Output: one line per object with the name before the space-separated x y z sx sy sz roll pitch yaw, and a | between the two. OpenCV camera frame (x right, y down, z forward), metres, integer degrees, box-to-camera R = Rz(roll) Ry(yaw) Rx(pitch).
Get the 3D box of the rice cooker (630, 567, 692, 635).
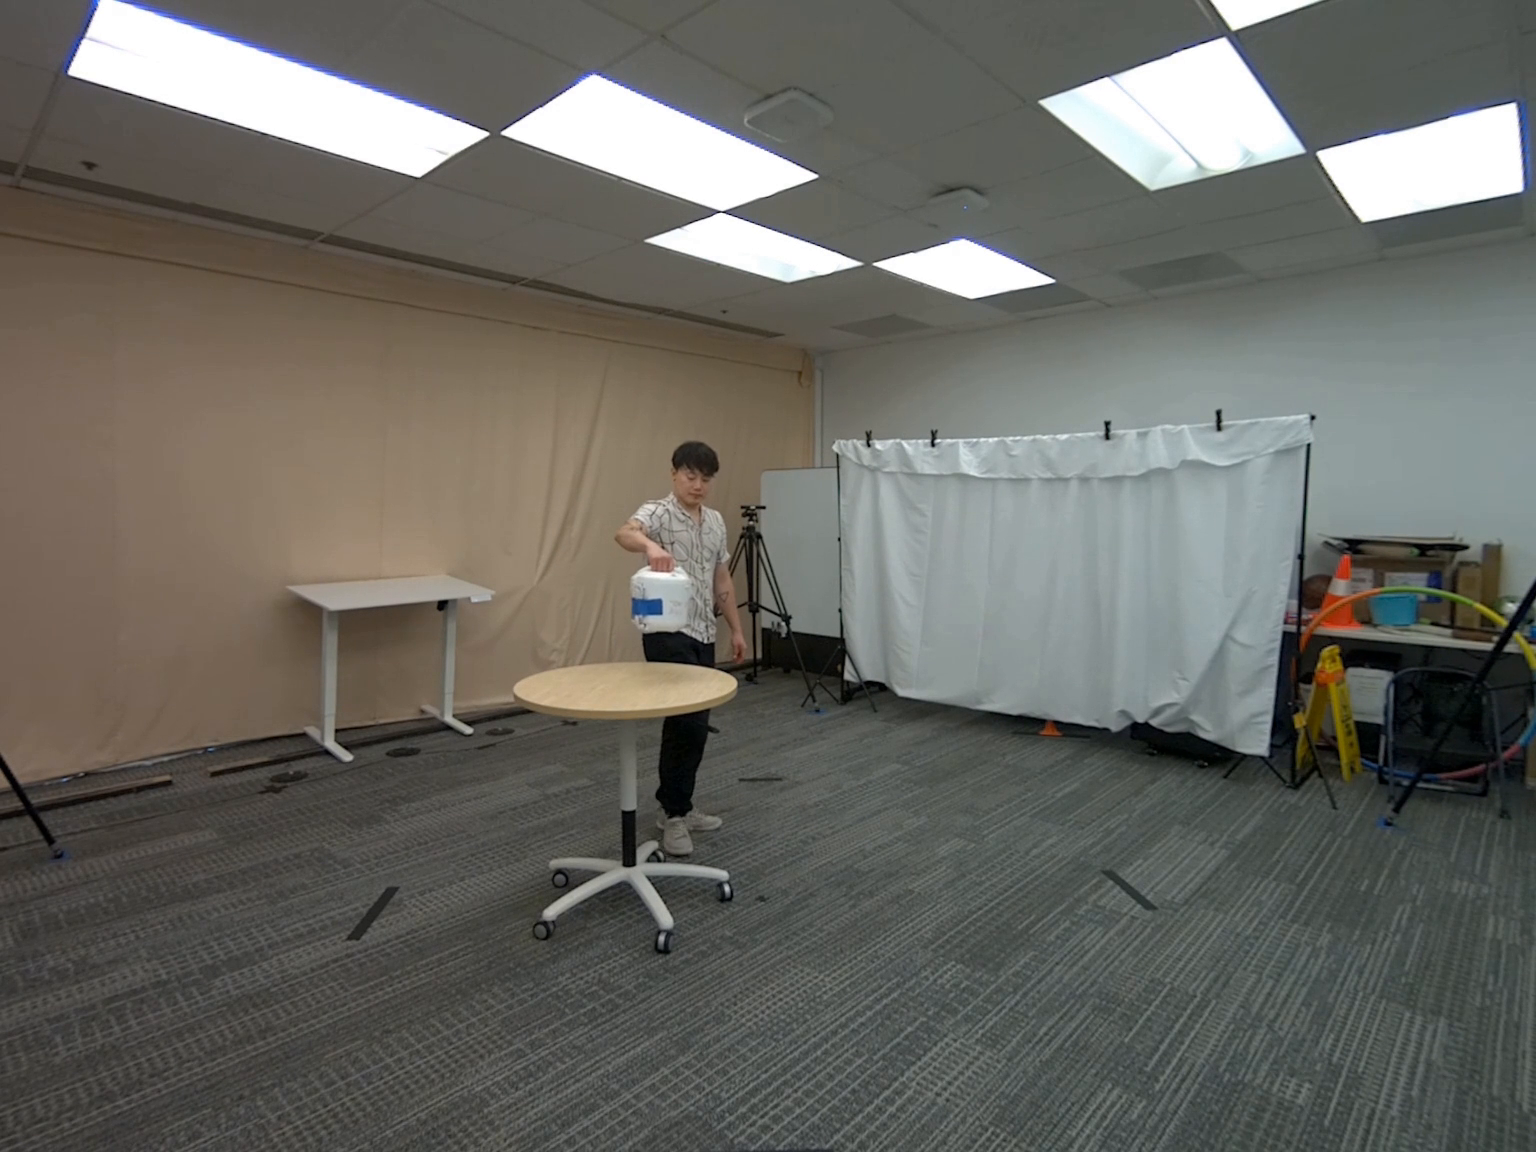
rice cooker | -0.388 0.073 3.039 0.218 0.232 0.220 5 4 -11
